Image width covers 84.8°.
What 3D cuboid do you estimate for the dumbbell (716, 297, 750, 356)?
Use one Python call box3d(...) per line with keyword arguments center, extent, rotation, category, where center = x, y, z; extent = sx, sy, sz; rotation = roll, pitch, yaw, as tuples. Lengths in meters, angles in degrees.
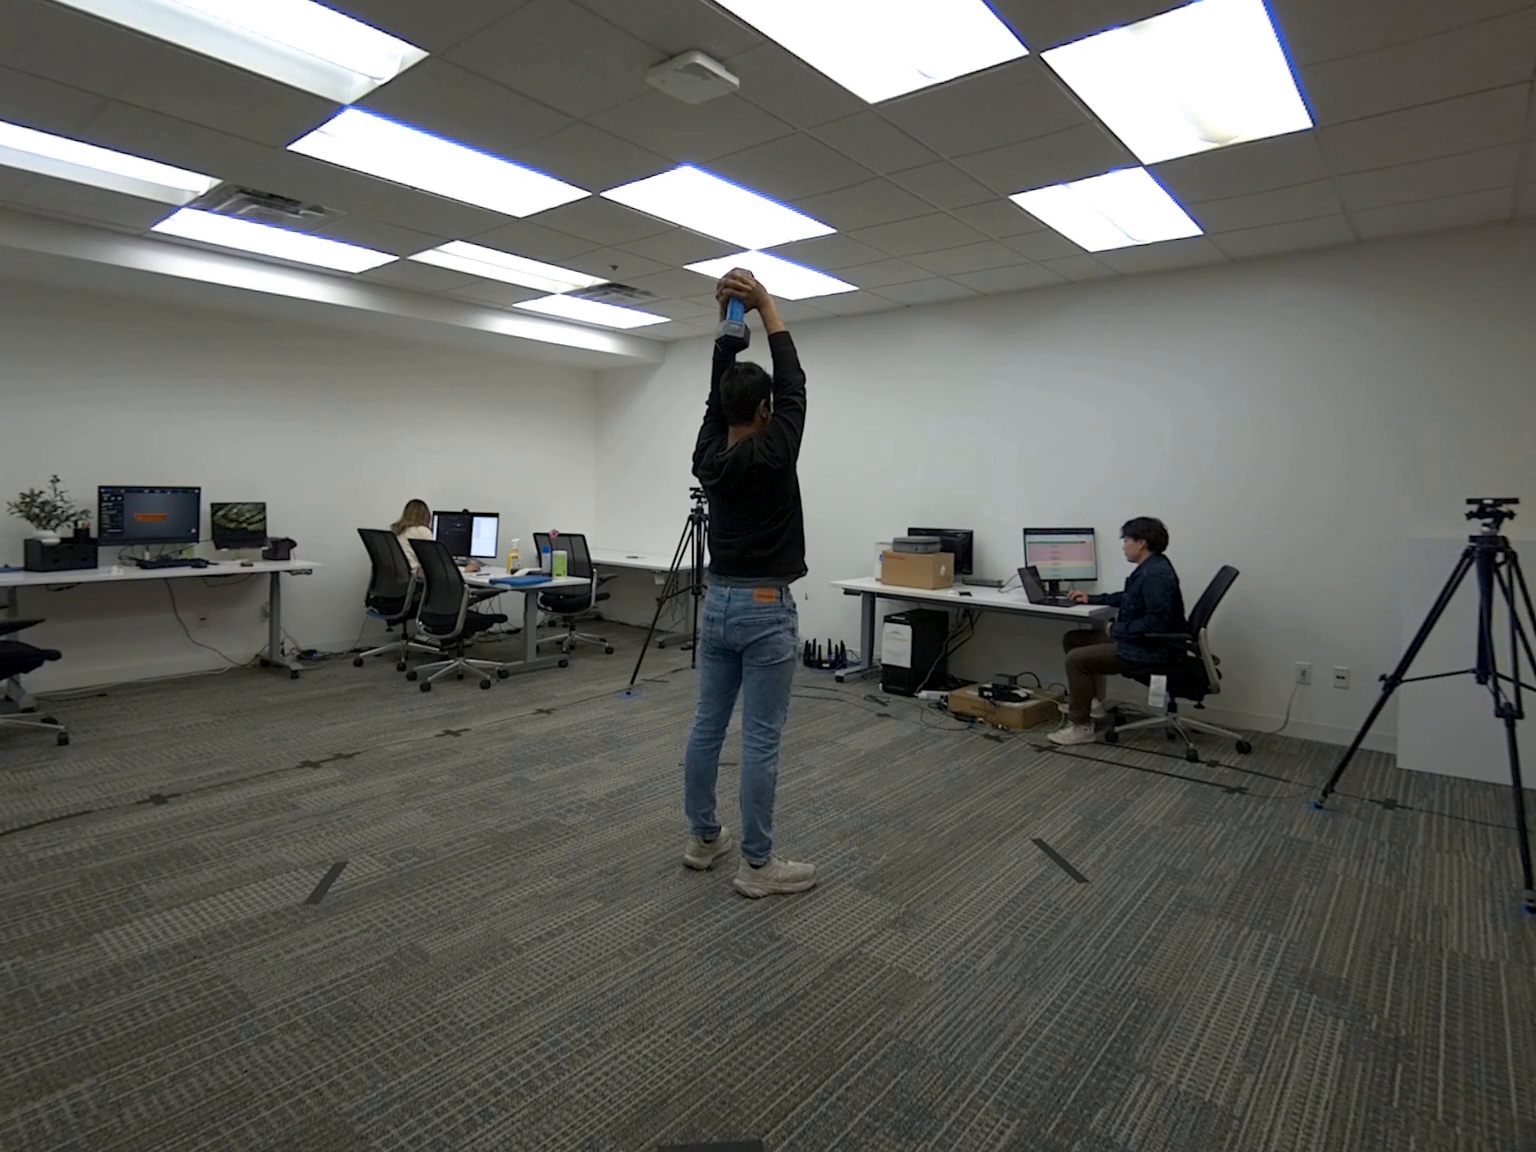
box3d(center=(-0.118, -0.930, 2.970), extent=(0.105, 0.298, 0.125), rotation=(20, -25, -36), category="dumbbell")
